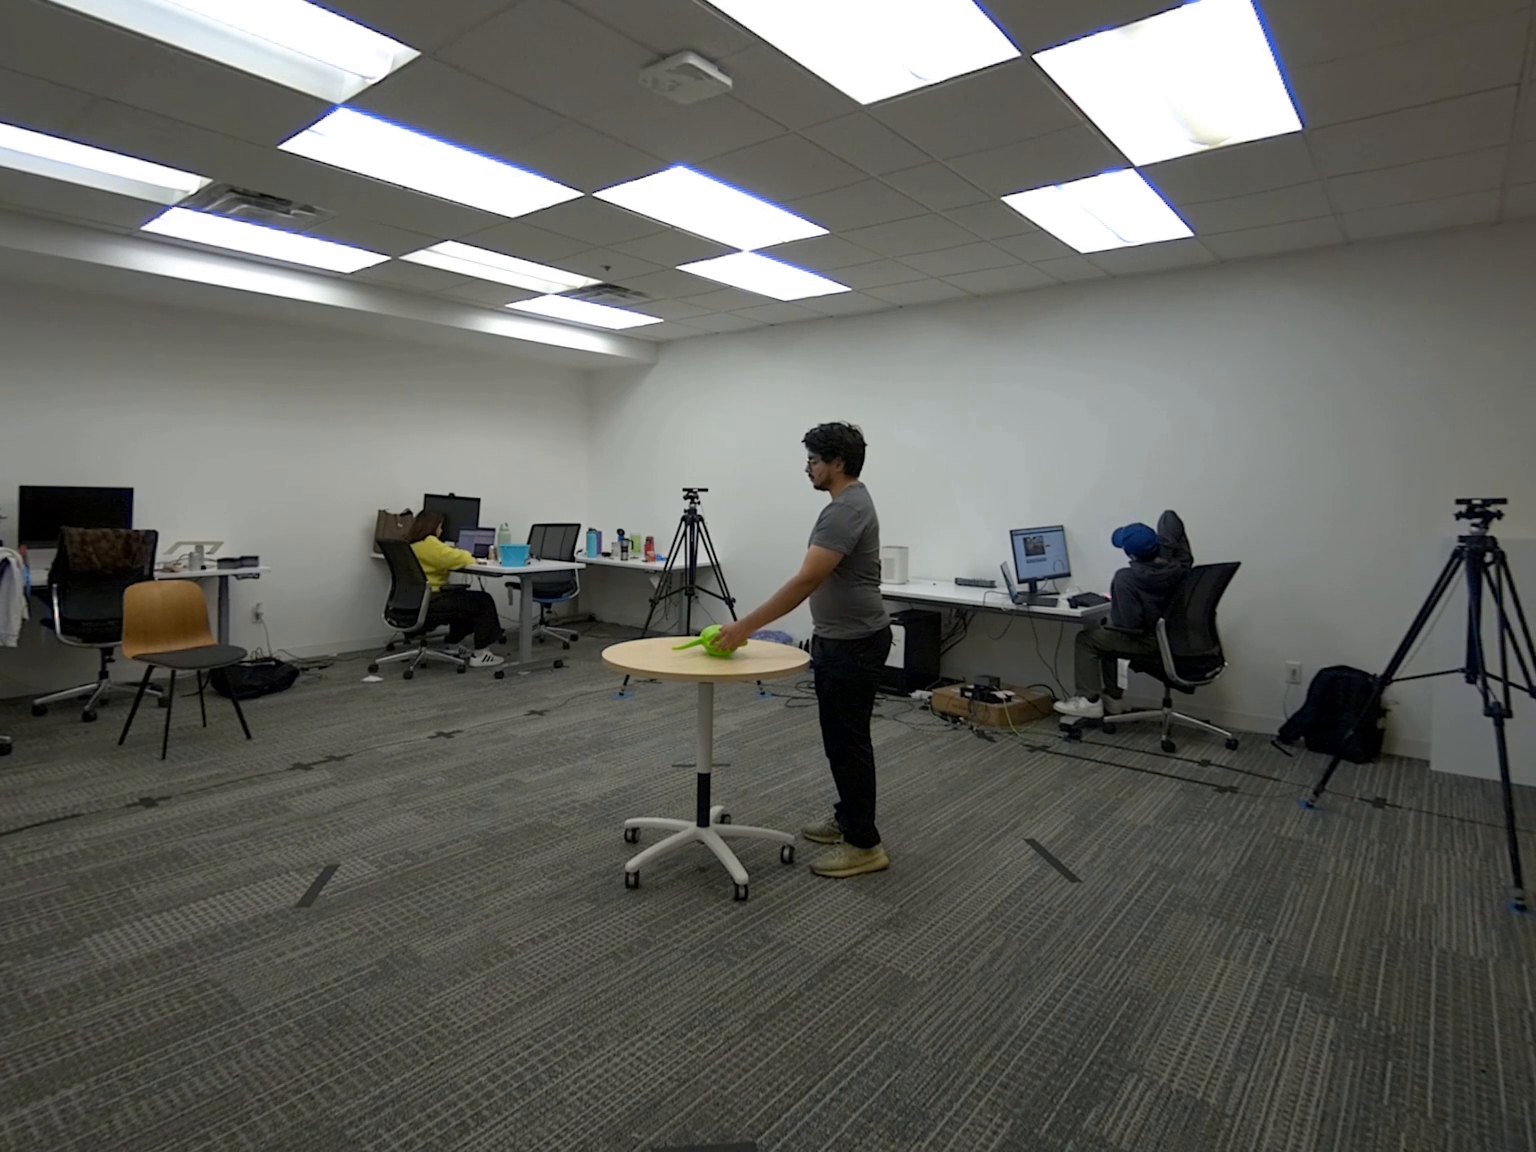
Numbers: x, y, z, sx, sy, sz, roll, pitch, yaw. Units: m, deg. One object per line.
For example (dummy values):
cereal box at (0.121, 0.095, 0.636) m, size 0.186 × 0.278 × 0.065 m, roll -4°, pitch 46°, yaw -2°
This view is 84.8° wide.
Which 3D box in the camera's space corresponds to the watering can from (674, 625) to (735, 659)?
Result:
watering can at (-0.226, 0.228, 3.126) m, size 0.276 × 0.098 × 0.178 m, roll 6°, pitch 2°, yaw -8°
